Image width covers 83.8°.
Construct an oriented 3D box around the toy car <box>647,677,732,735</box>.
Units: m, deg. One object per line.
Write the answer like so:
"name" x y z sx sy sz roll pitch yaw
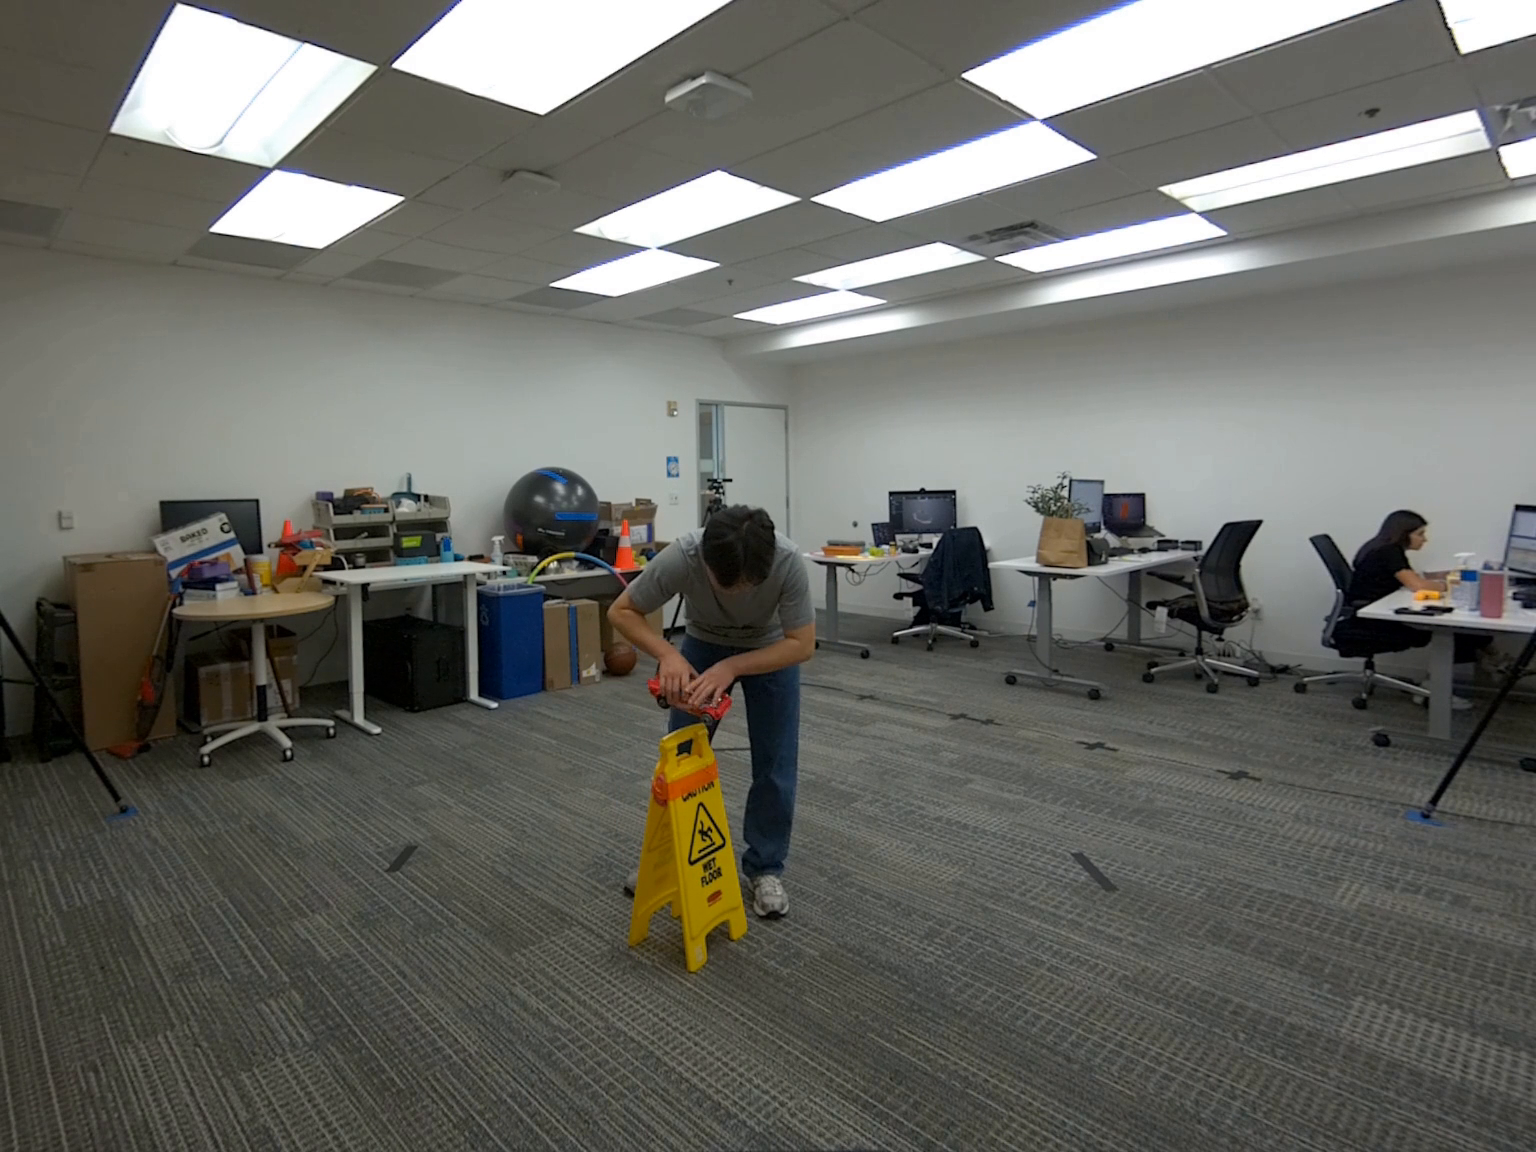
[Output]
"toy car" -0.239 0.365 2.526 0.259 0.082 0.130 24 32 14
